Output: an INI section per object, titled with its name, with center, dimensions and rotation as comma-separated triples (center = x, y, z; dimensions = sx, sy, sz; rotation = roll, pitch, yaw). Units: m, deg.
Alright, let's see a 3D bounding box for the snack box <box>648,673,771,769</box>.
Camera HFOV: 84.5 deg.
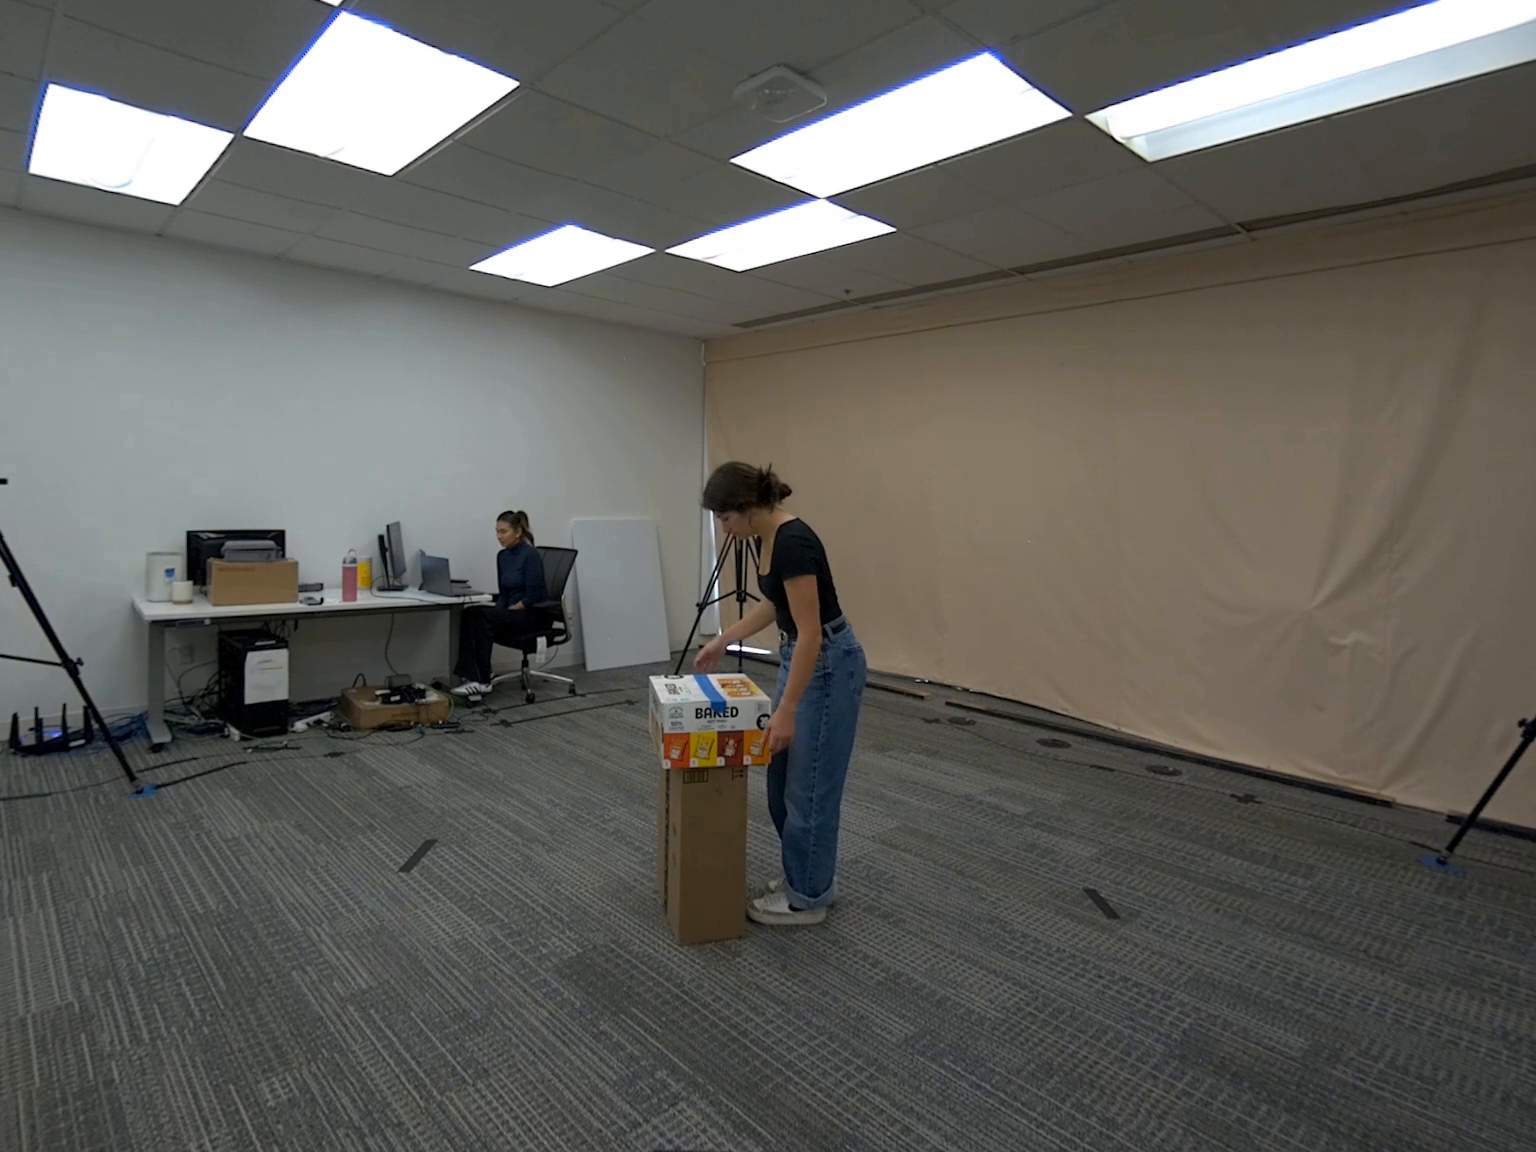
[snack box]
center = -0.204, 0.465, 2.776
dimensions = 0.337, 0.205, 0.410
rotation = 0, 4, -13
